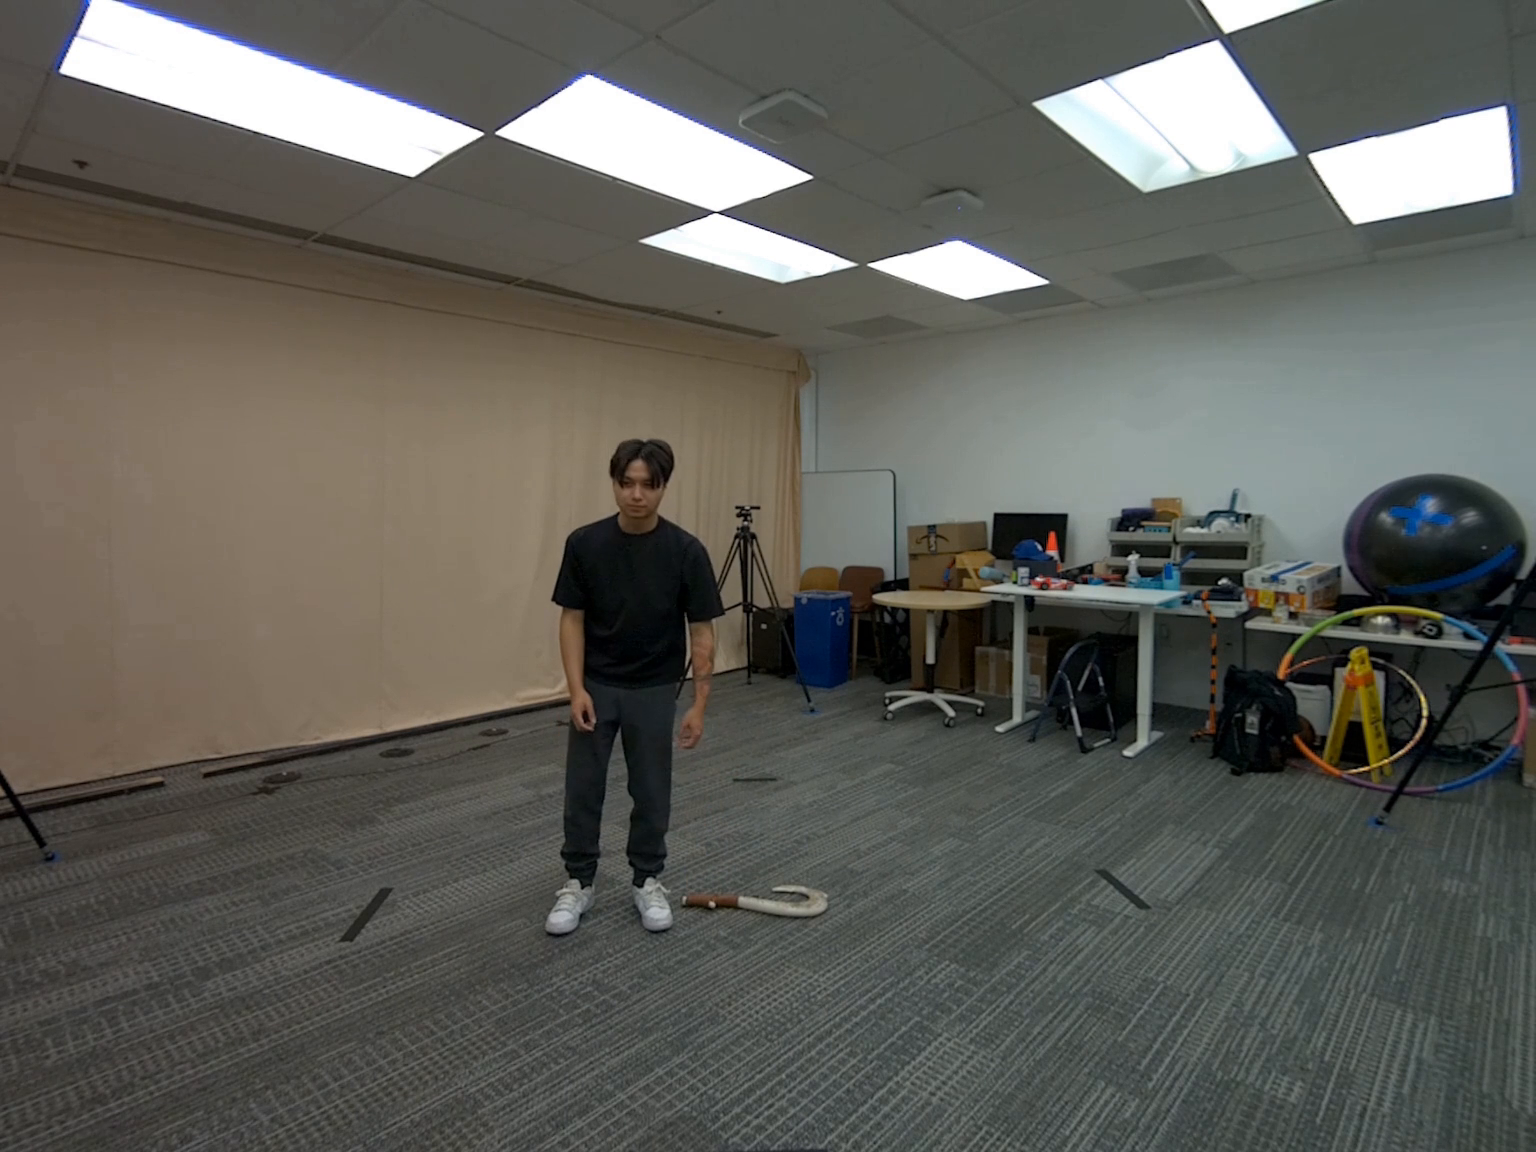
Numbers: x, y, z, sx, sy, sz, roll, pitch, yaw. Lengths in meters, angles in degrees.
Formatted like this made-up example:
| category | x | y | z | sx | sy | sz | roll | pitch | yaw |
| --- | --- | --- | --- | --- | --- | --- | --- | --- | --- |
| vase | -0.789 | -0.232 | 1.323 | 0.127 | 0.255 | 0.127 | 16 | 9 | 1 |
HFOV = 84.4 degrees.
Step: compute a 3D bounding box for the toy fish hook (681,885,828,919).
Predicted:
| category | x | y | z | sx | sy | sz | roll | pitch | yaw |
| --- | --- | --- | --- | --- | --- | --- | --- | --- | --- |
| toy fish hook | -0.043 | 1.134 | 2.949 | 0.510 | 0.048 | 0.222 | 1 | -3 | 6 |
